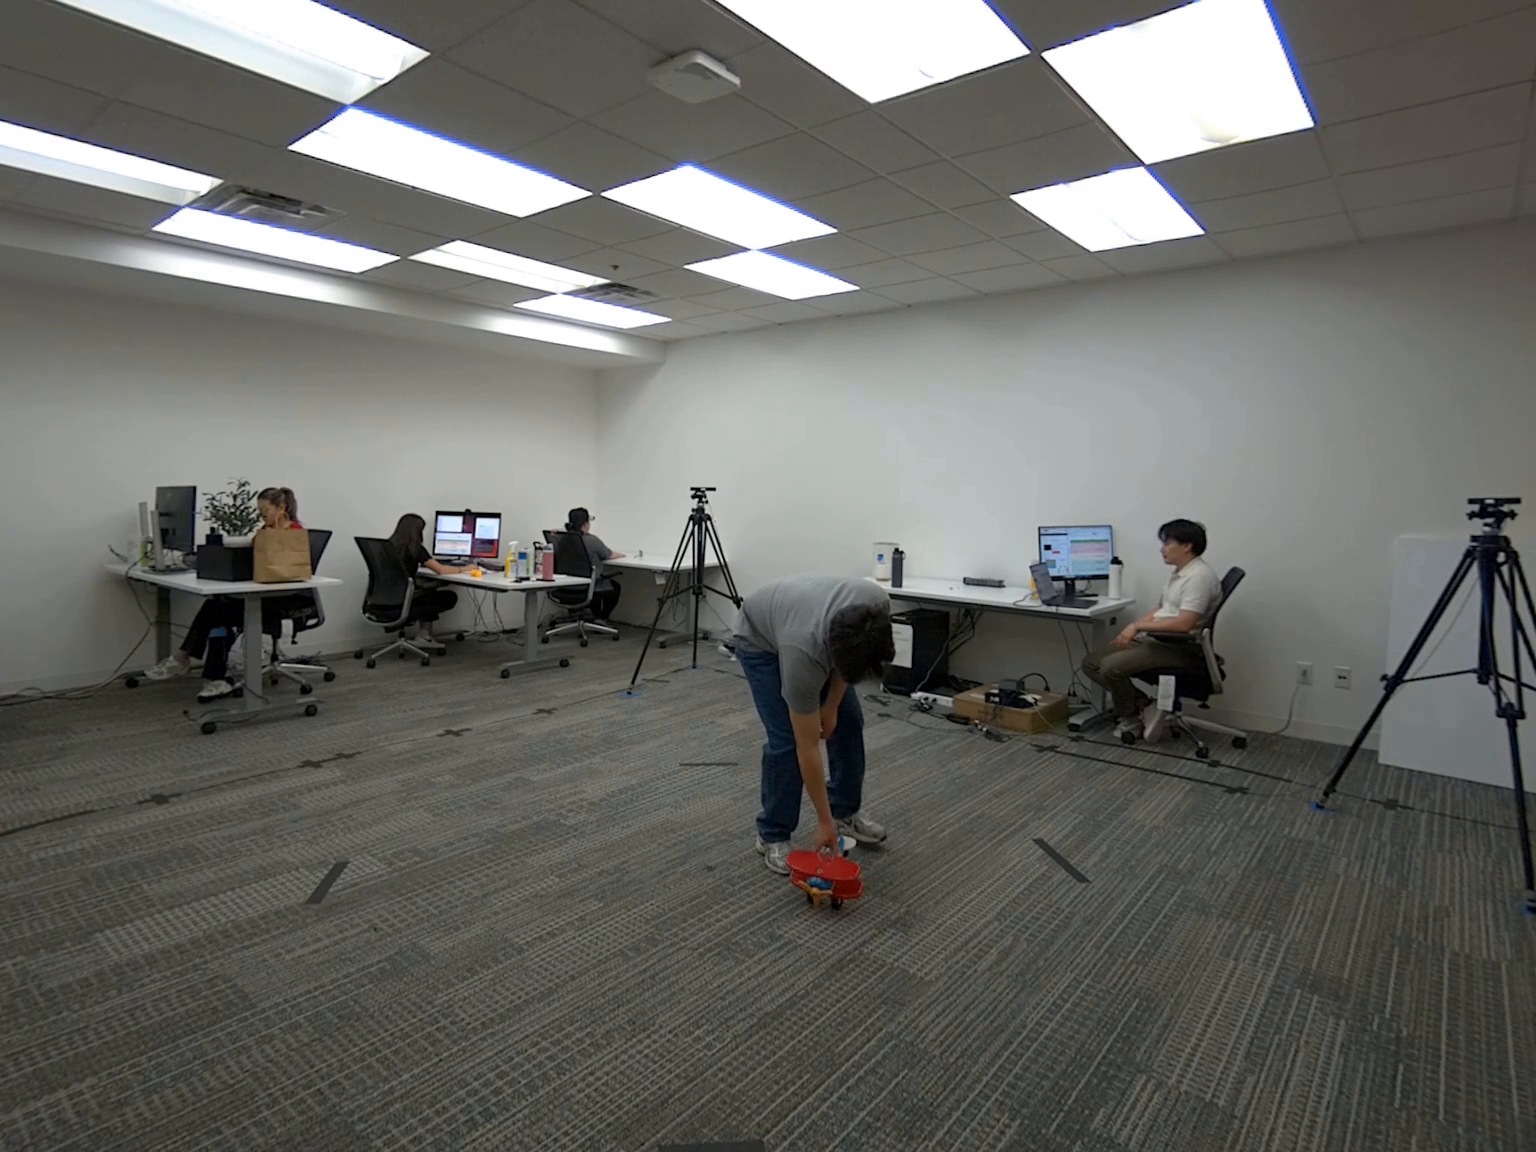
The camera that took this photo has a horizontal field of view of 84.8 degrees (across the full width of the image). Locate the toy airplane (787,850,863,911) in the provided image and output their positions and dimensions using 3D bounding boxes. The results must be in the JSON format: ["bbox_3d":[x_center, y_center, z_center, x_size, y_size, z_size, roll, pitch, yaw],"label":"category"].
[{"bbox_3d":[0.179,0.982,2.876,0.252,0.150,0.268,-17,39,6],"label":"toy airplane"}]
